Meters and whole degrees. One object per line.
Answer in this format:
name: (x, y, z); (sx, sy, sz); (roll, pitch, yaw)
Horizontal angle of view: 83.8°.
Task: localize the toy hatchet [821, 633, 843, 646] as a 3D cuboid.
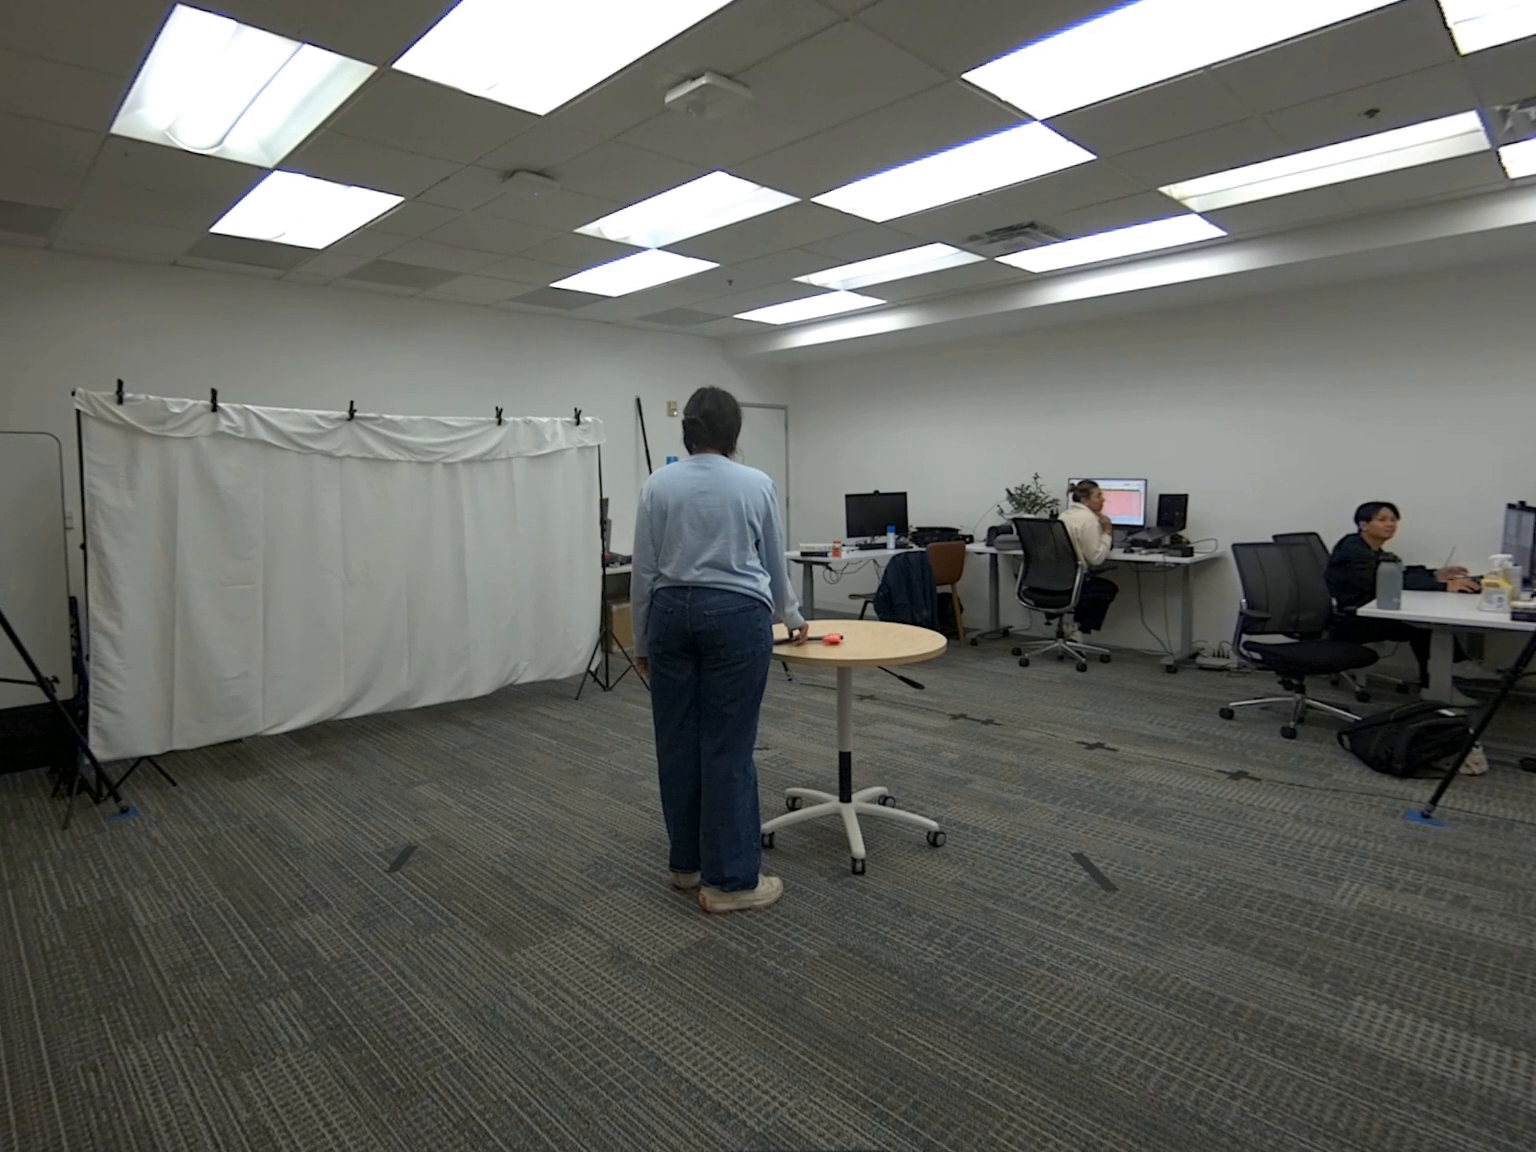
toy hatchet: (0.158, 0.237, 3.164); (0.266, 0.029, 0.133); (-4, 5, -17)
